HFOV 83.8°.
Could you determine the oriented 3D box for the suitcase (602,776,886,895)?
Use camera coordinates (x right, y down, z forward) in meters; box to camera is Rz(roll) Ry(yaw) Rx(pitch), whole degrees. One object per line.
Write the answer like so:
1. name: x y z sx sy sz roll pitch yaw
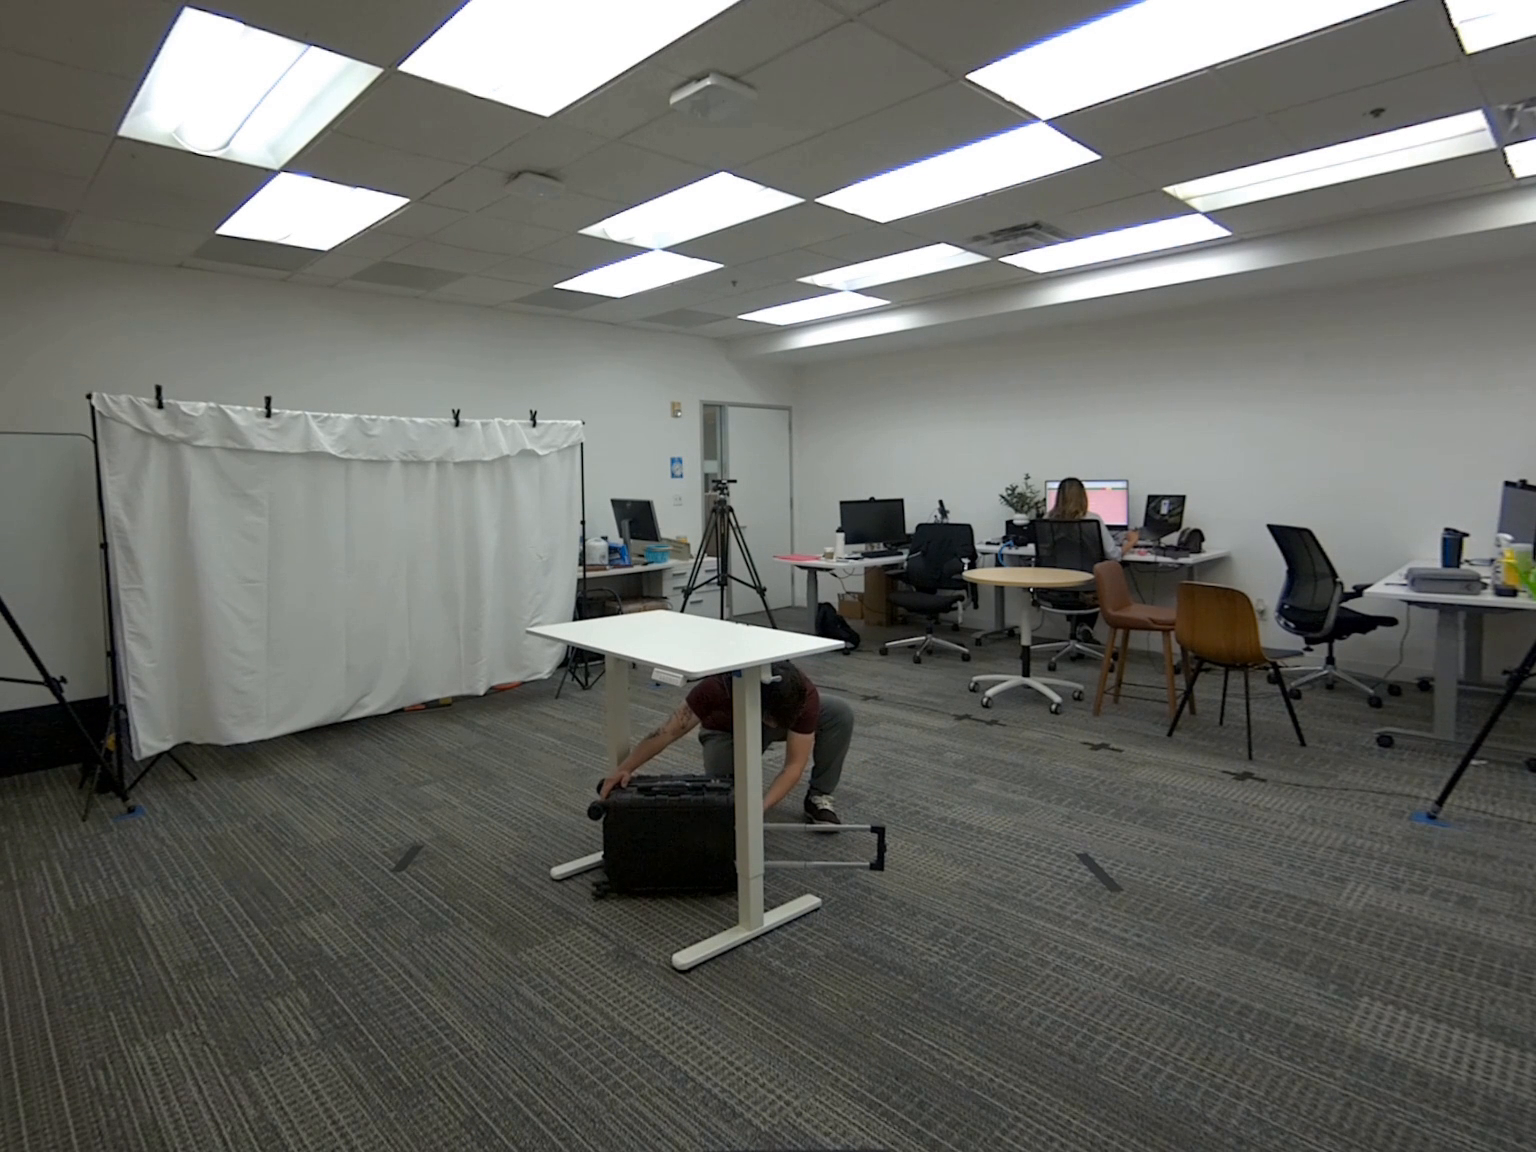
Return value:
1. suitcase: -0.111 0.876 2.947 0.978 0.381 0.259 -2 8 0
